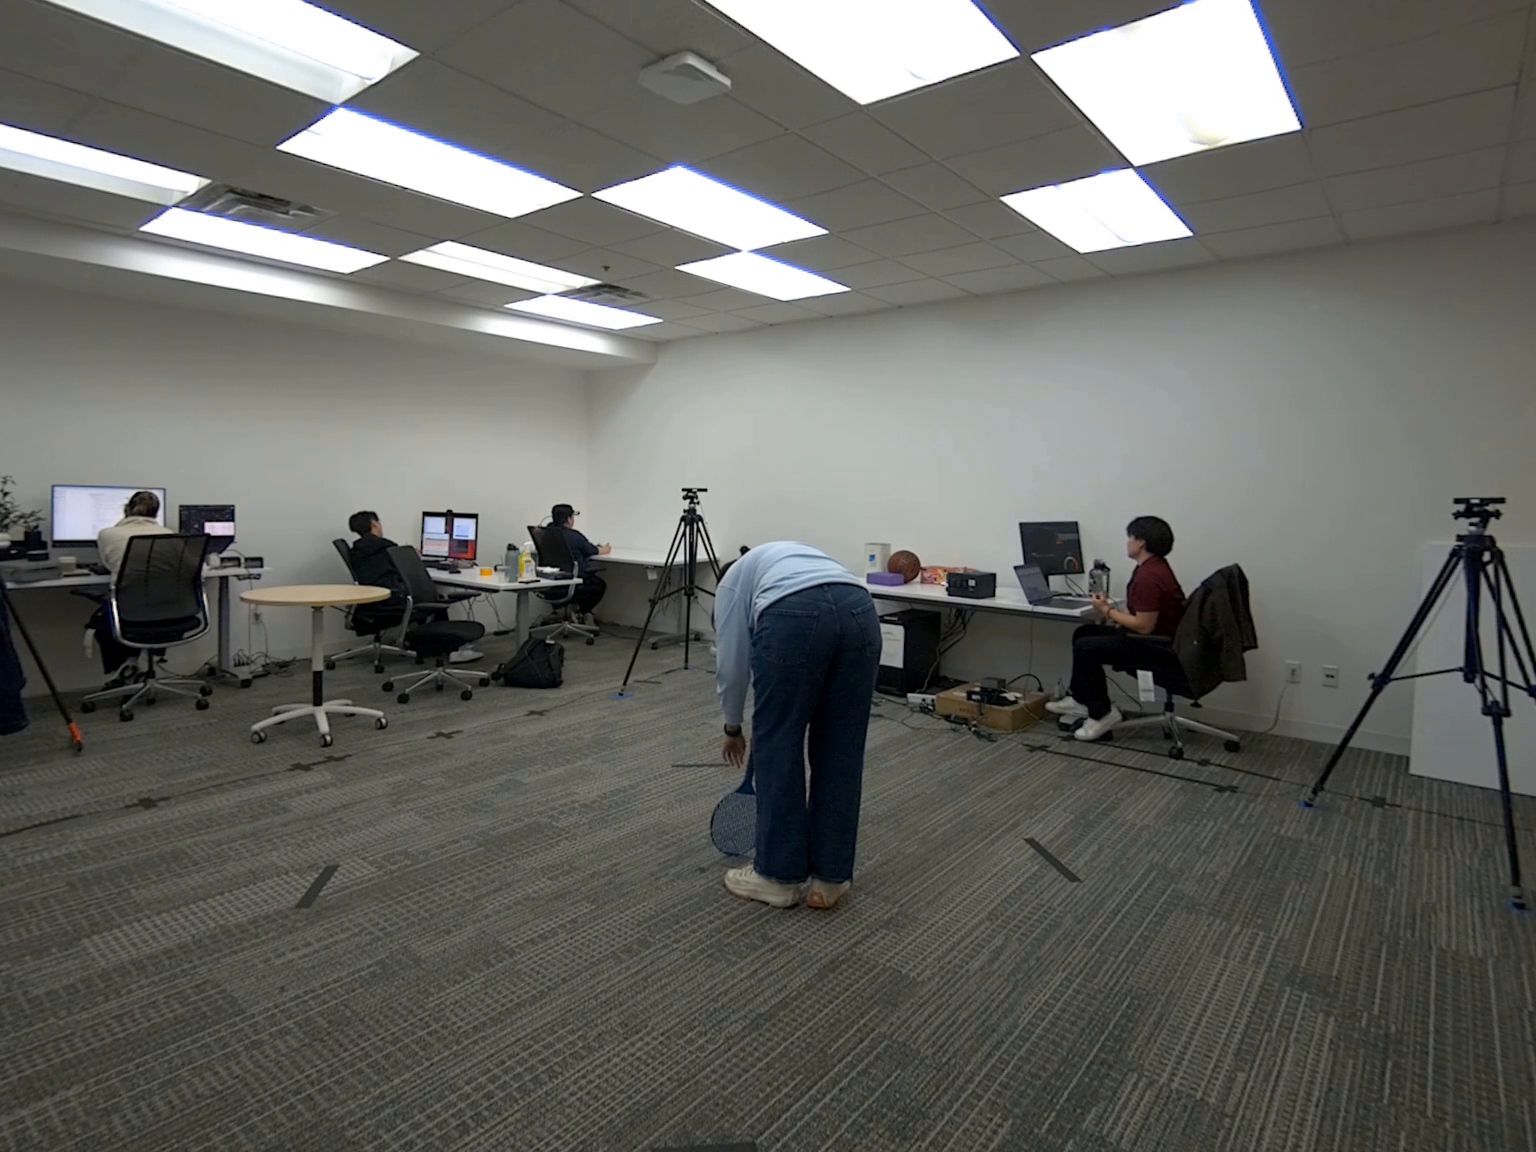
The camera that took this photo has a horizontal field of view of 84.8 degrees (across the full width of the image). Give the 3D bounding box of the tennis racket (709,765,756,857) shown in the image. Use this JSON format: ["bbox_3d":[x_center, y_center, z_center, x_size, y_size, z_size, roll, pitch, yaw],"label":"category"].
[{"bbox_3d":[-0.105,0.855,3.191,0.212,0.430,0.032,14,8,-4],"label":"tennis racket"}]
